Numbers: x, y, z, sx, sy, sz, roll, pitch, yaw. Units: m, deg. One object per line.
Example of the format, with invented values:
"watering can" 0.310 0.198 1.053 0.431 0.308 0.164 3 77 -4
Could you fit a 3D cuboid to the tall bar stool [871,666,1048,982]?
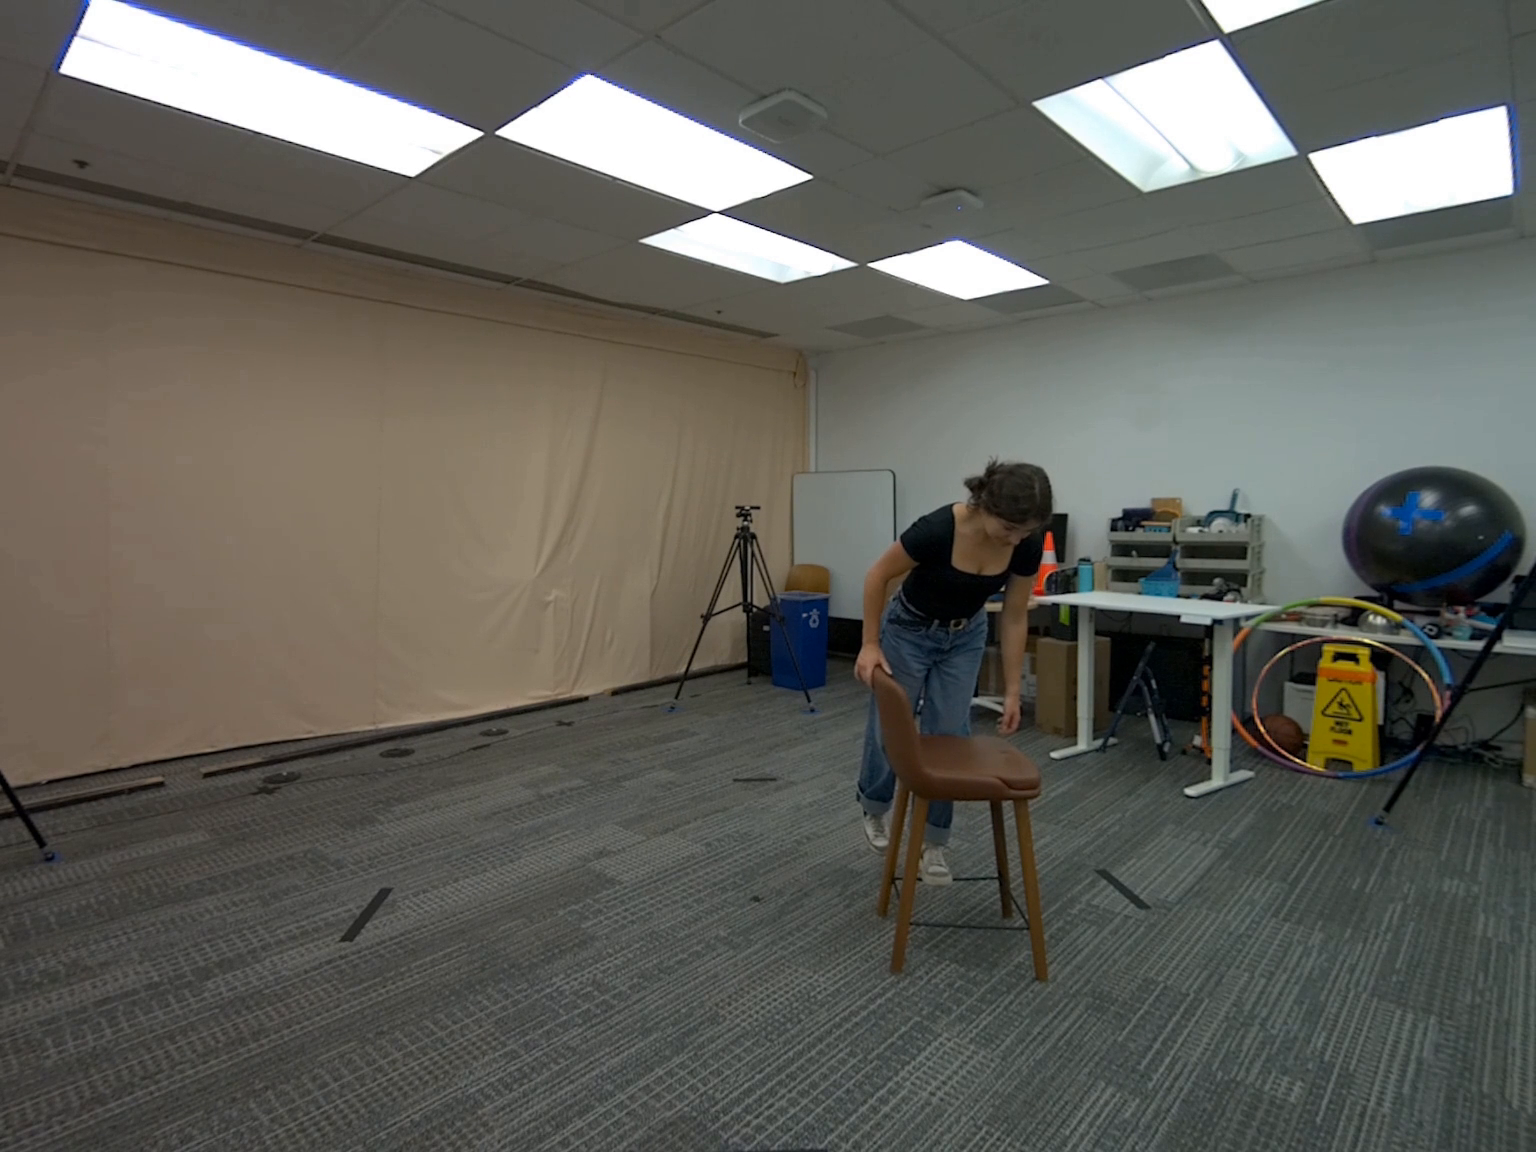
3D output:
"tall bar stool" 0.596 0.732 2.653 0.470 0.888 0.456 -2 4 3
